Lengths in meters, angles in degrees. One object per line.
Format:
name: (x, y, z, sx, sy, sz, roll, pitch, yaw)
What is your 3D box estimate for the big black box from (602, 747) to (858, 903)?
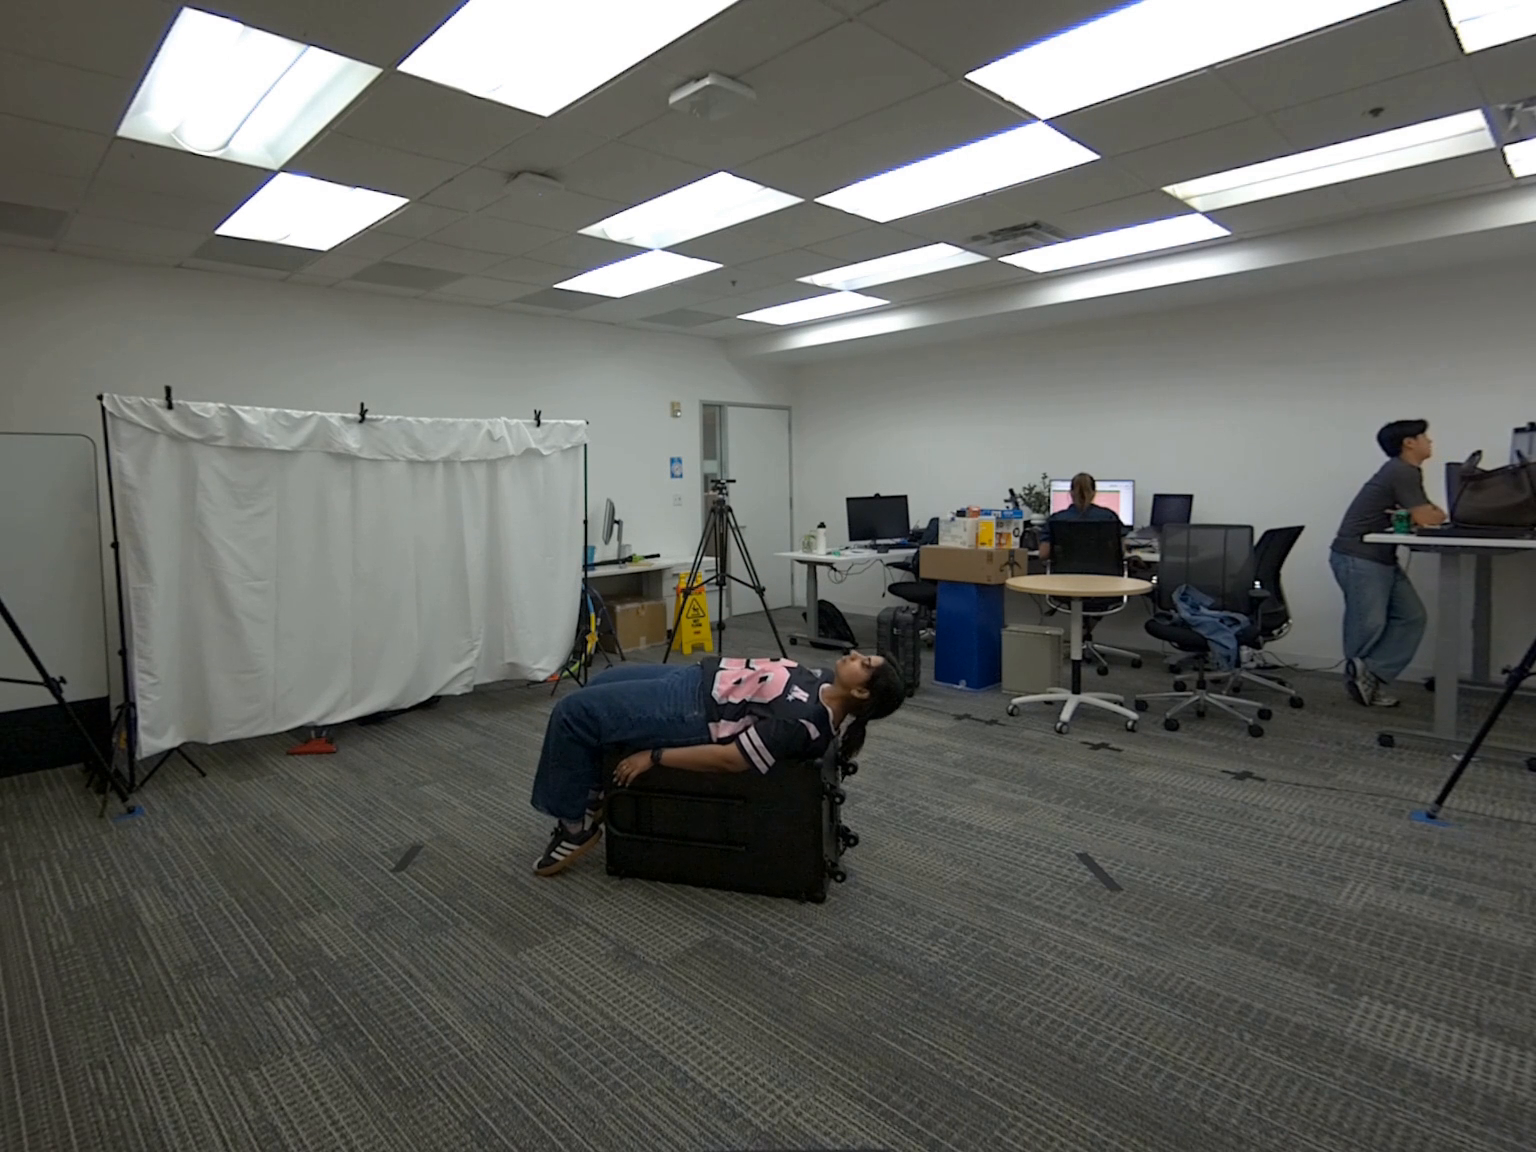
big black box: (-0.119, 0.799, 3.052, 0.883, 0.522, 0.380, 1, 3, 17)
